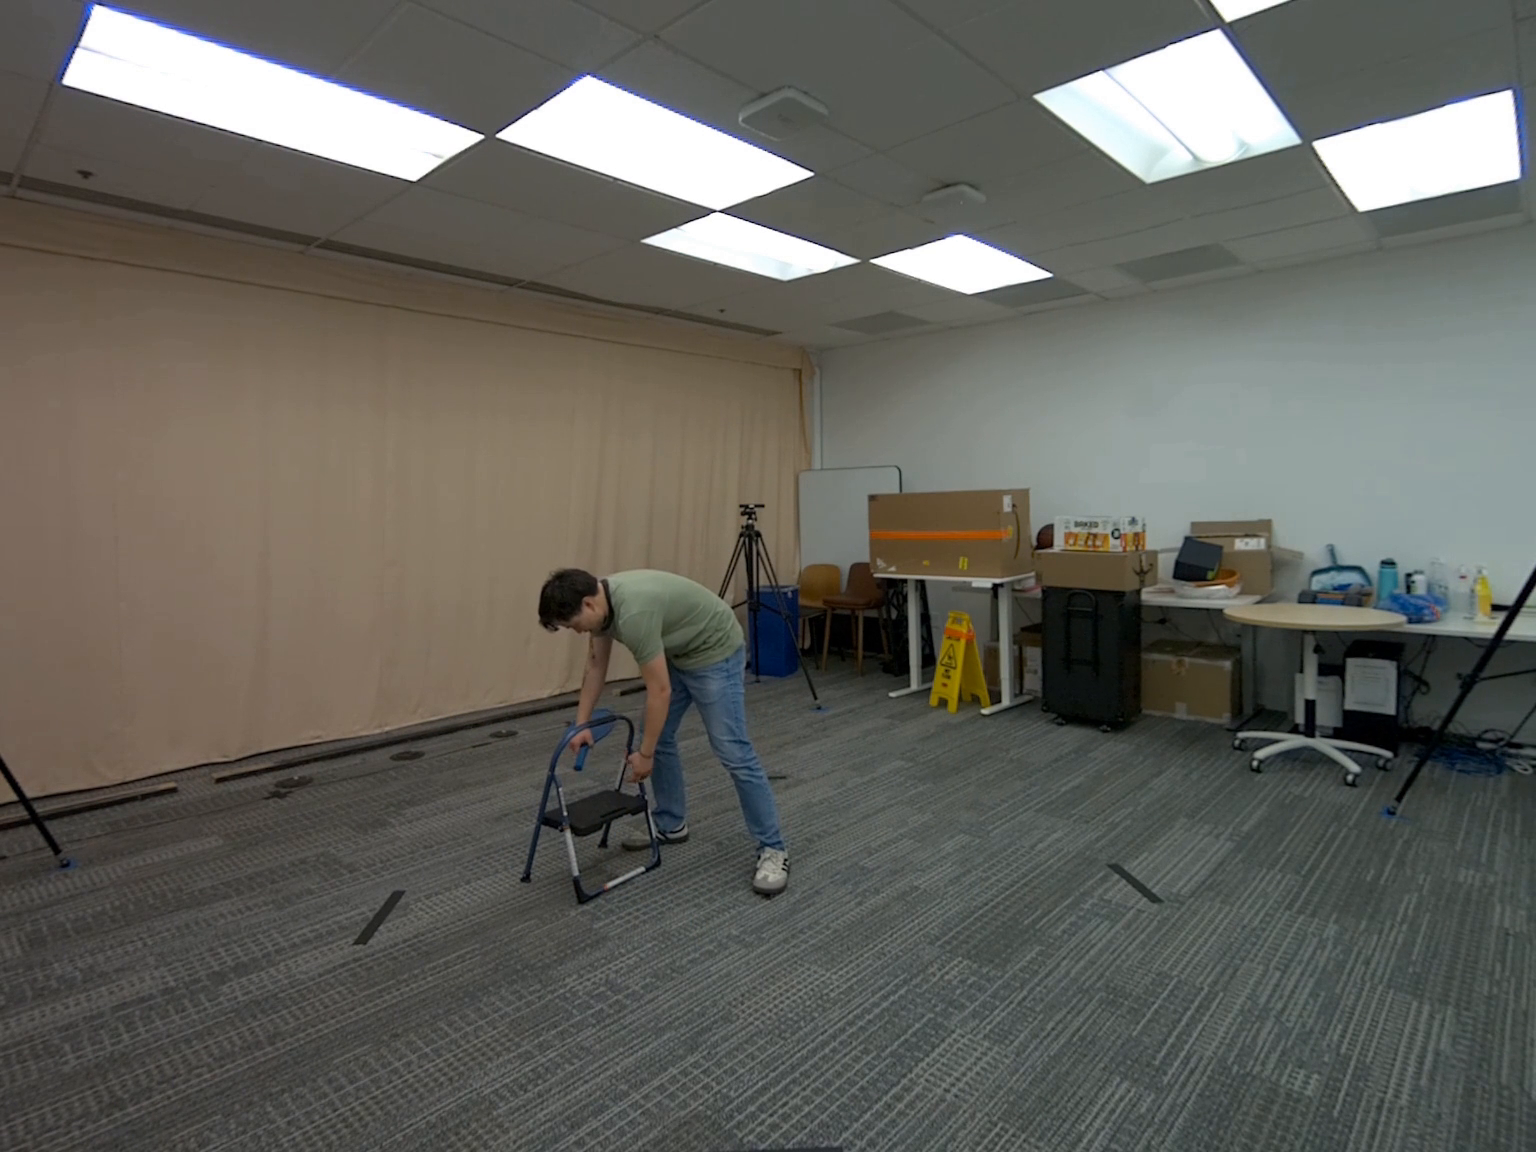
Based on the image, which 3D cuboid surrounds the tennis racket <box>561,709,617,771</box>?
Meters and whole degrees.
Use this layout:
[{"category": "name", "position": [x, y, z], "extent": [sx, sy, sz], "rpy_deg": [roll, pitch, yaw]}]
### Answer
[{"category": "tennis racket", "position": [-0.736, 0.680, 3.436], "extent": [0.214, 0.031, 0.440], "rpy_deg": [-14, 22, 0]}]
